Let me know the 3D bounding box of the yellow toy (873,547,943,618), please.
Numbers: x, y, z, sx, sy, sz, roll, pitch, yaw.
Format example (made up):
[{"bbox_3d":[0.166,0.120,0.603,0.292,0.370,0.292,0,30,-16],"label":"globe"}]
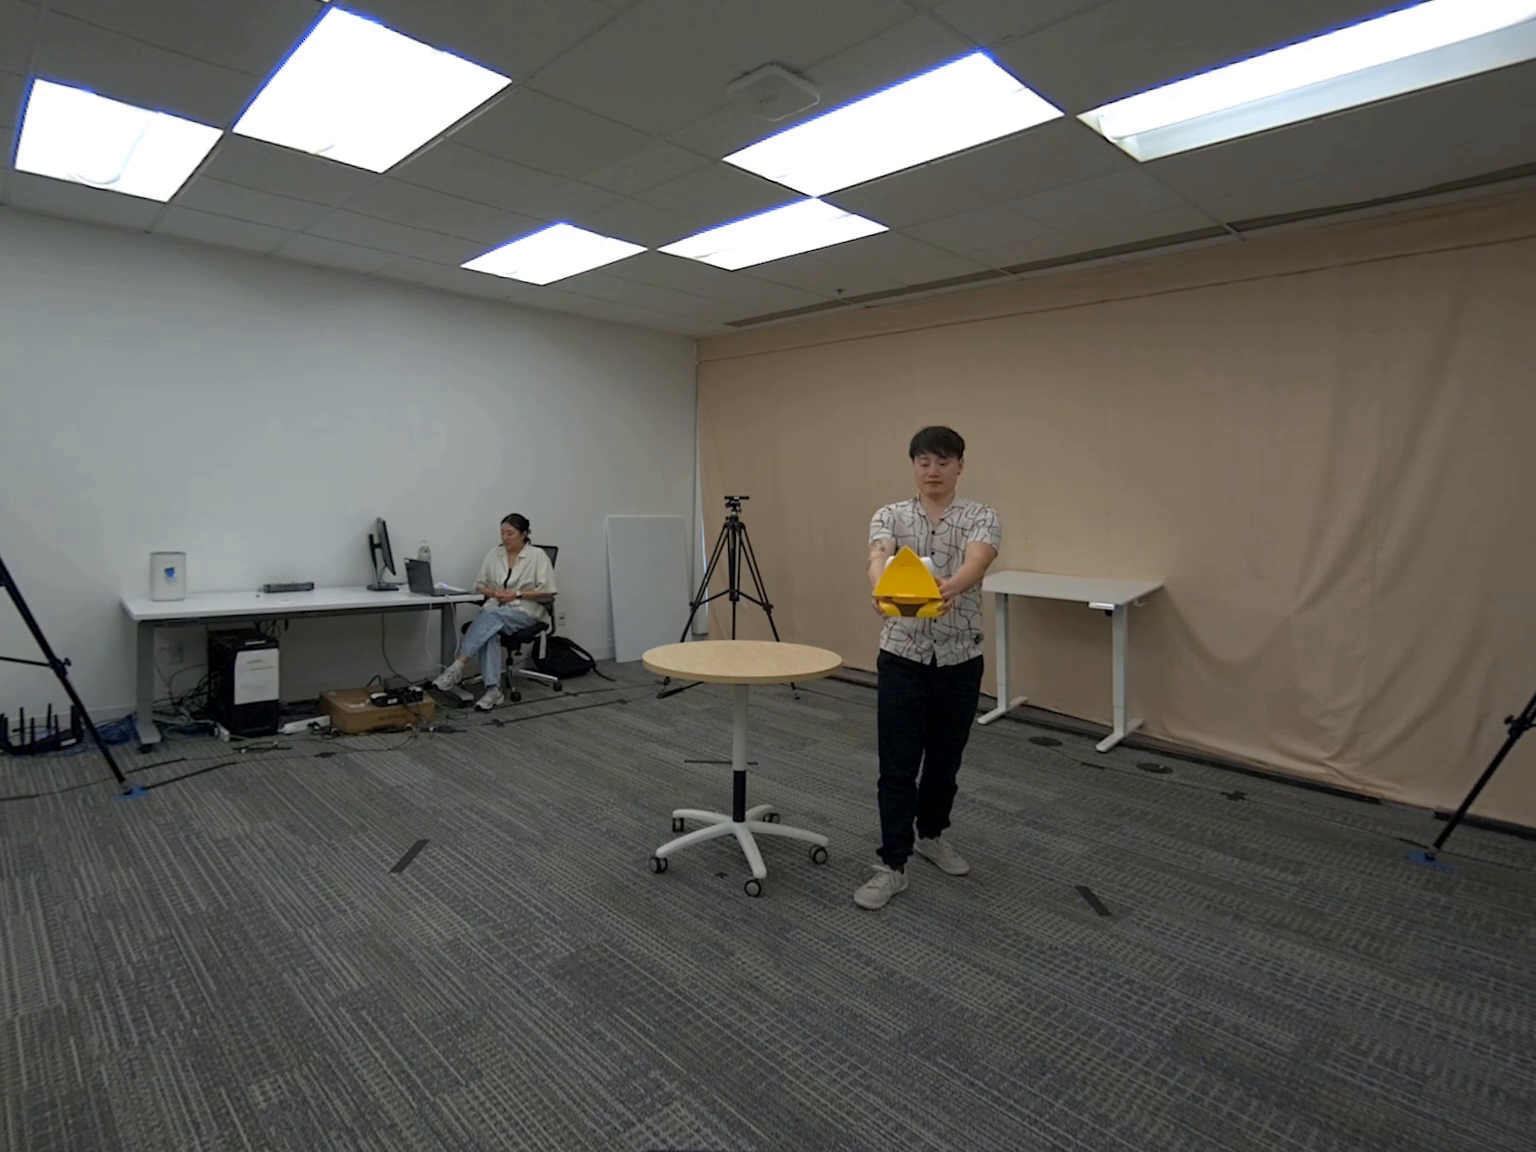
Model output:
[{"bbox_3d":[0.430,-0.010,2.554,0.208,0.227,0.193,1,24,20],"label":"yellow toy"}]
